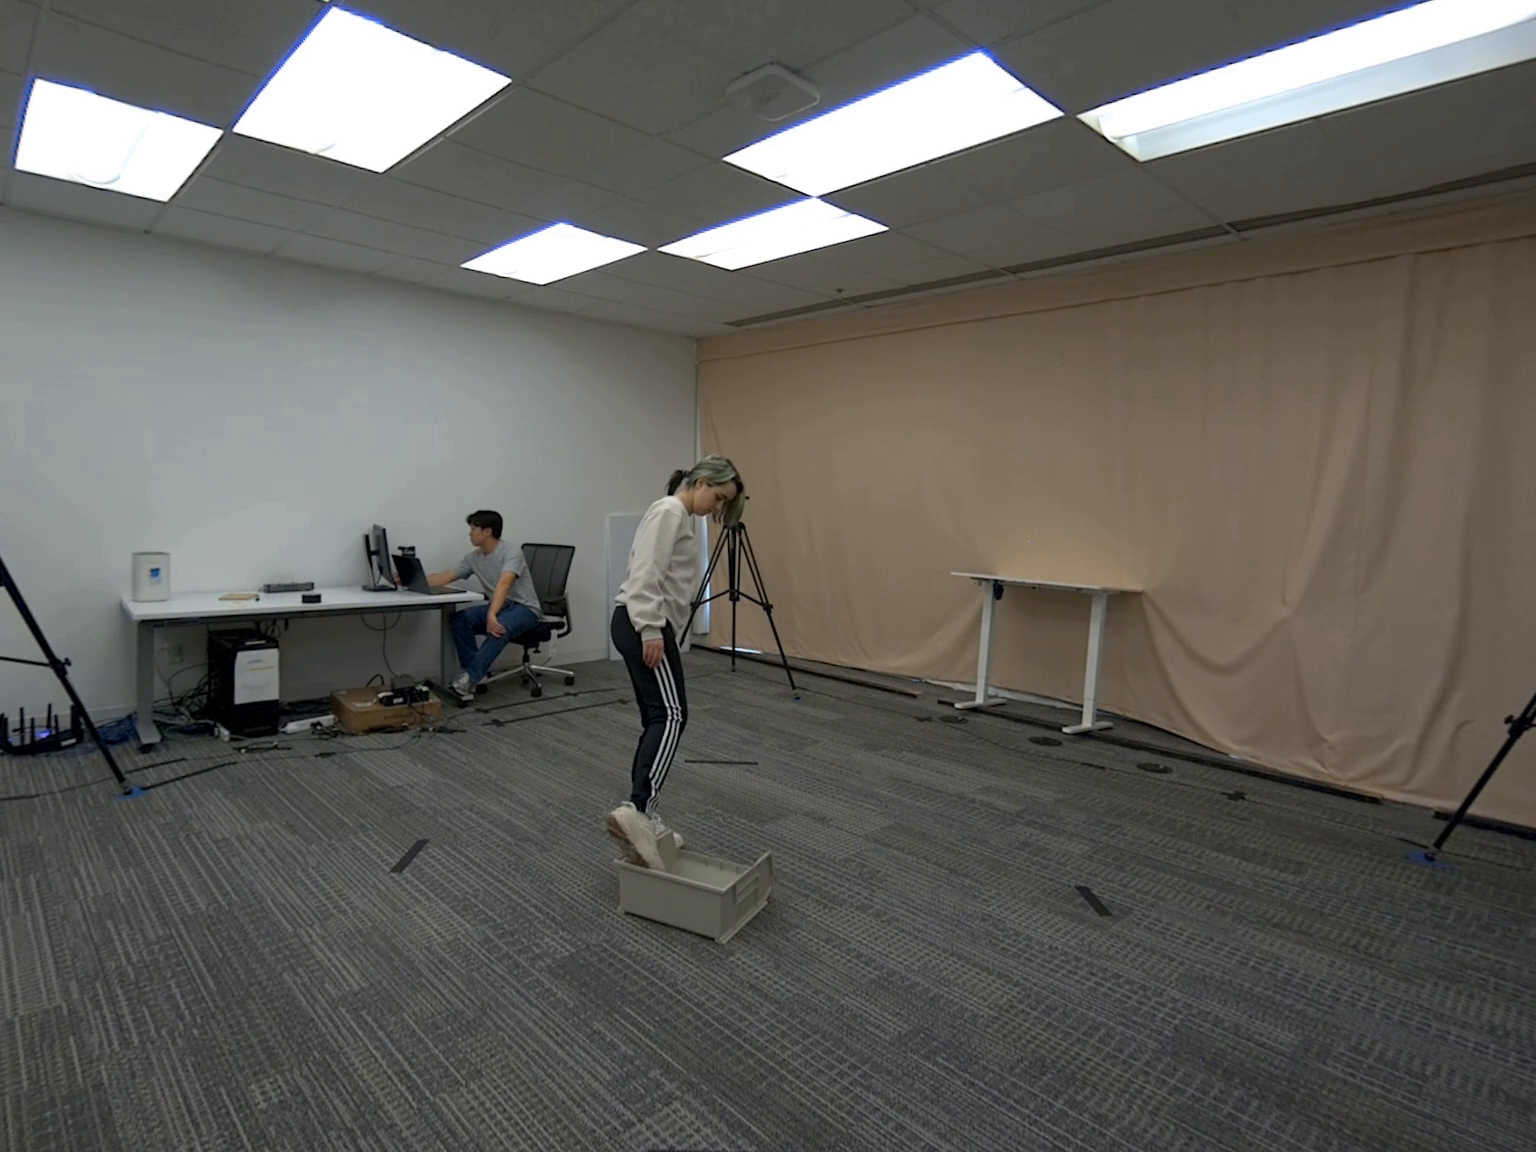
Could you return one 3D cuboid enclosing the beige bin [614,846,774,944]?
[{"bbox_3d":[-0.248,1.031,2.860,0.431,0.188,0.371,3,6,27],"label":"beige bin"}]
